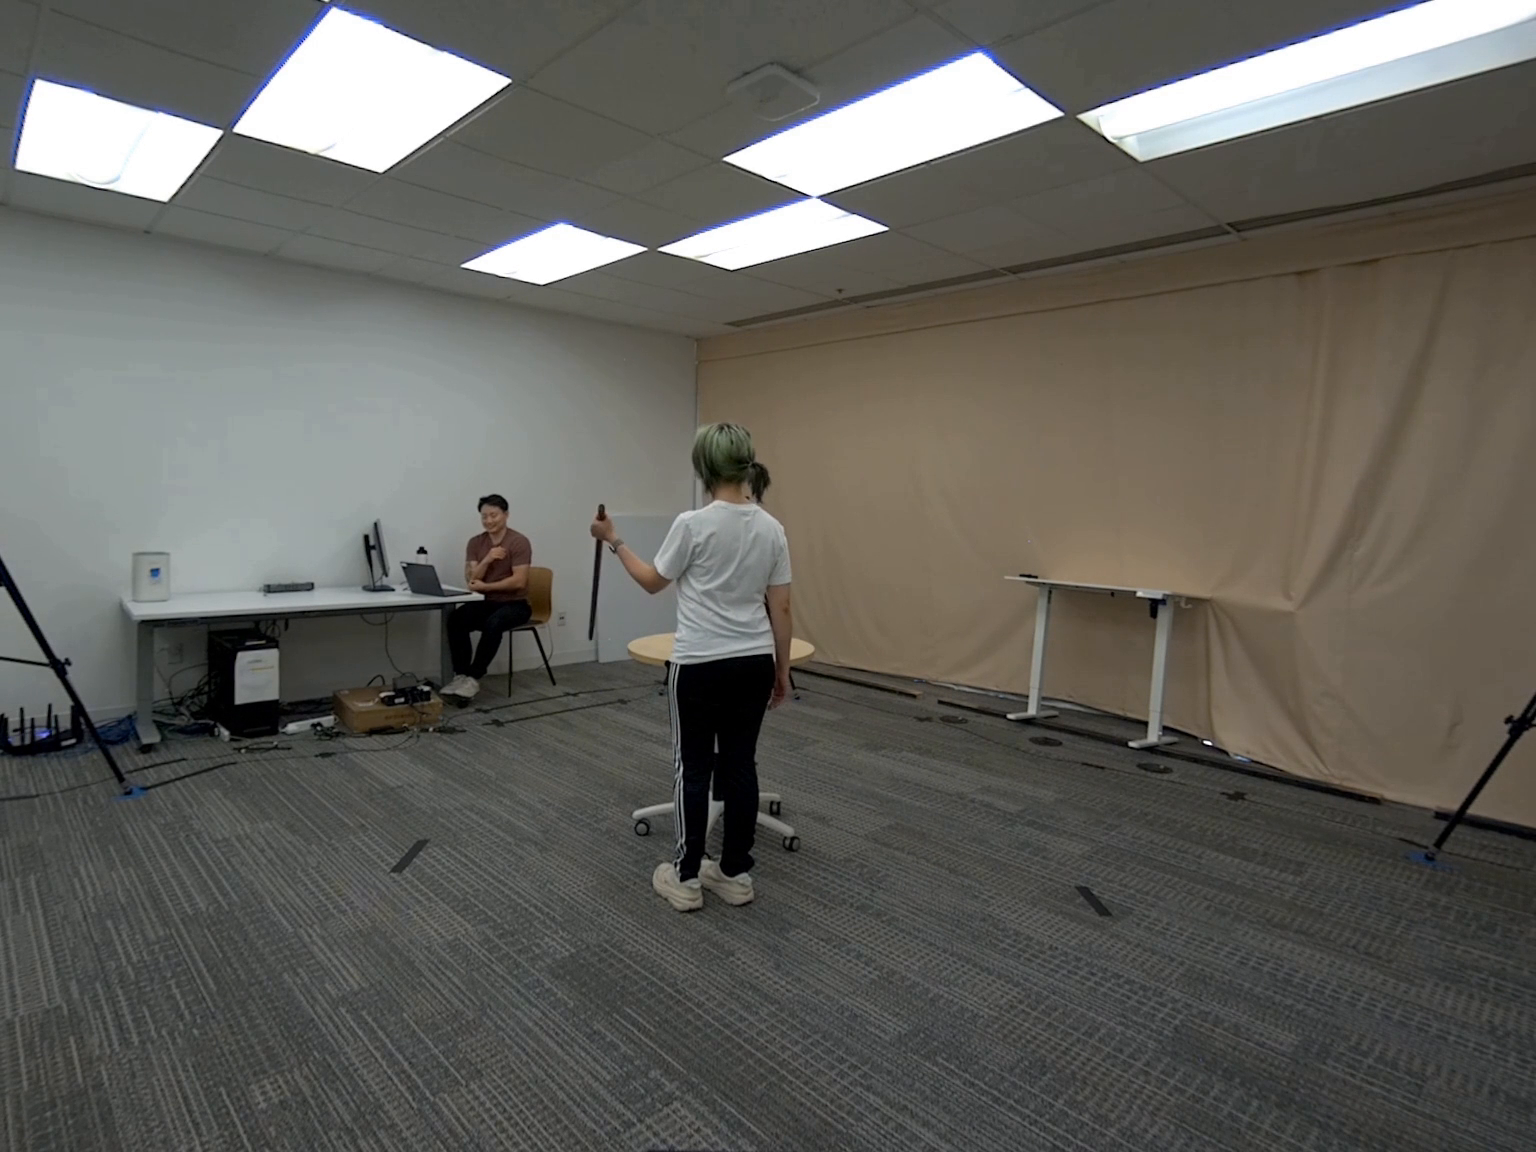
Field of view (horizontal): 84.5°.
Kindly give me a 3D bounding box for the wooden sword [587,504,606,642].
[{"bbox_3d":[-0.683,0.060,3.341,0.051,0.024,1.011,-40,-16,-31],"label":"wooden sword"}]
